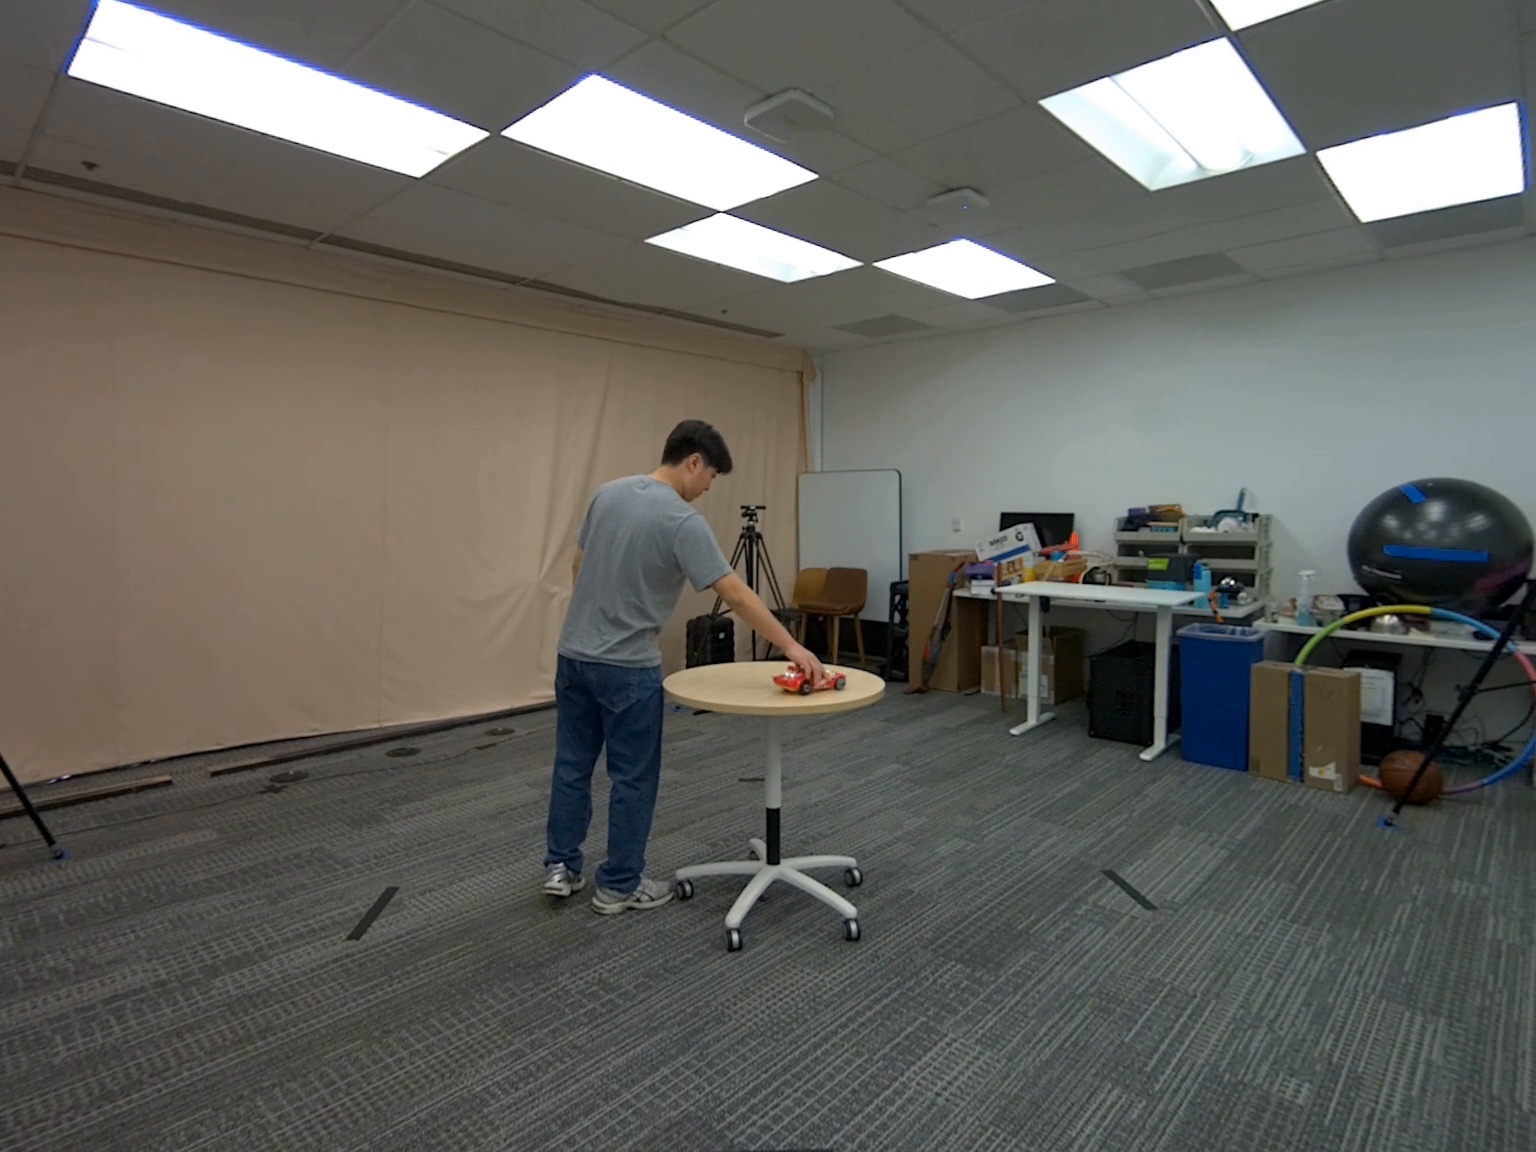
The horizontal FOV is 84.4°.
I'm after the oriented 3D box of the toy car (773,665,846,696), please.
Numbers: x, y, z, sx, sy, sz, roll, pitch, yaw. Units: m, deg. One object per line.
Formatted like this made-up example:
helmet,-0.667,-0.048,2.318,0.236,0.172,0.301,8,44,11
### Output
toy car,0.134,0.348,2.754,0.247,0.083,0.134,10,-2,-32
